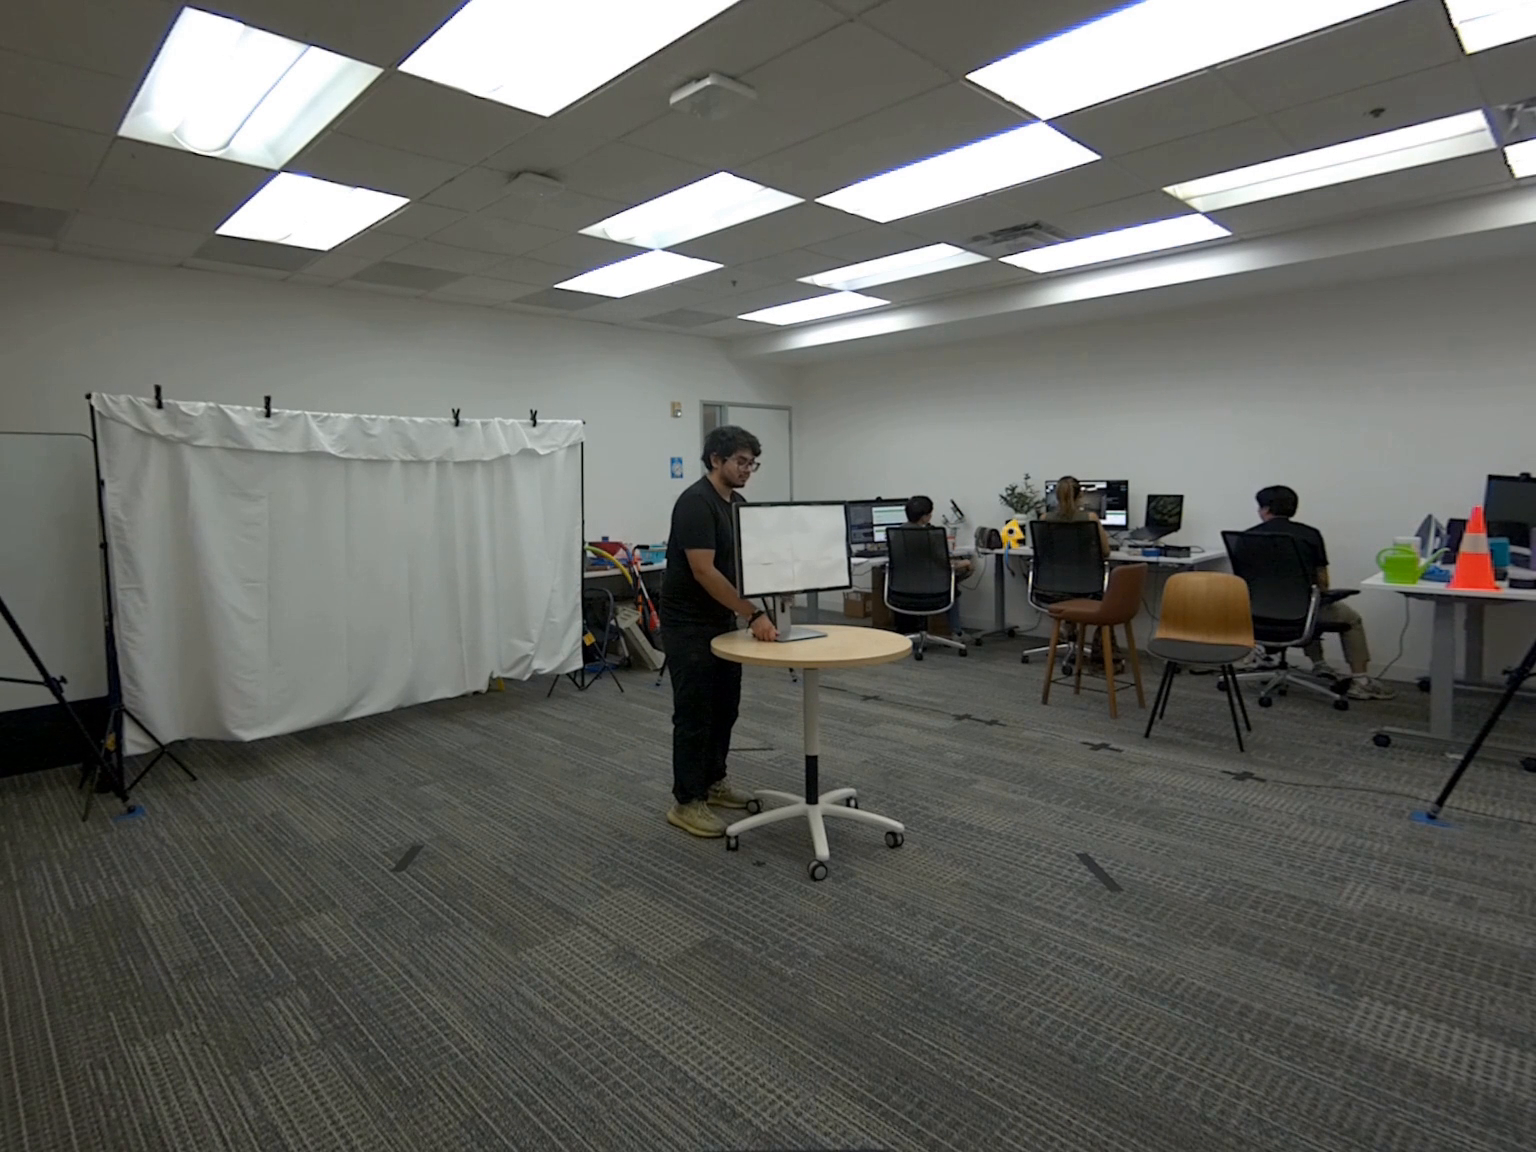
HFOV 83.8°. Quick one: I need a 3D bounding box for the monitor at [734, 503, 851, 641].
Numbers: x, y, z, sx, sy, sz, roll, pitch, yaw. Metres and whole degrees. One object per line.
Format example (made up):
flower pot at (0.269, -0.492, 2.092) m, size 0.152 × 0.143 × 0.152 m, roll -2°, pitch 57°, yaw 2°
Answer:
monitor at (0.068, -0.026, 3.408) m, size 0.551 × 0.553 × 0.216 m, roll -3°, pitch 3°, yaw -35°
